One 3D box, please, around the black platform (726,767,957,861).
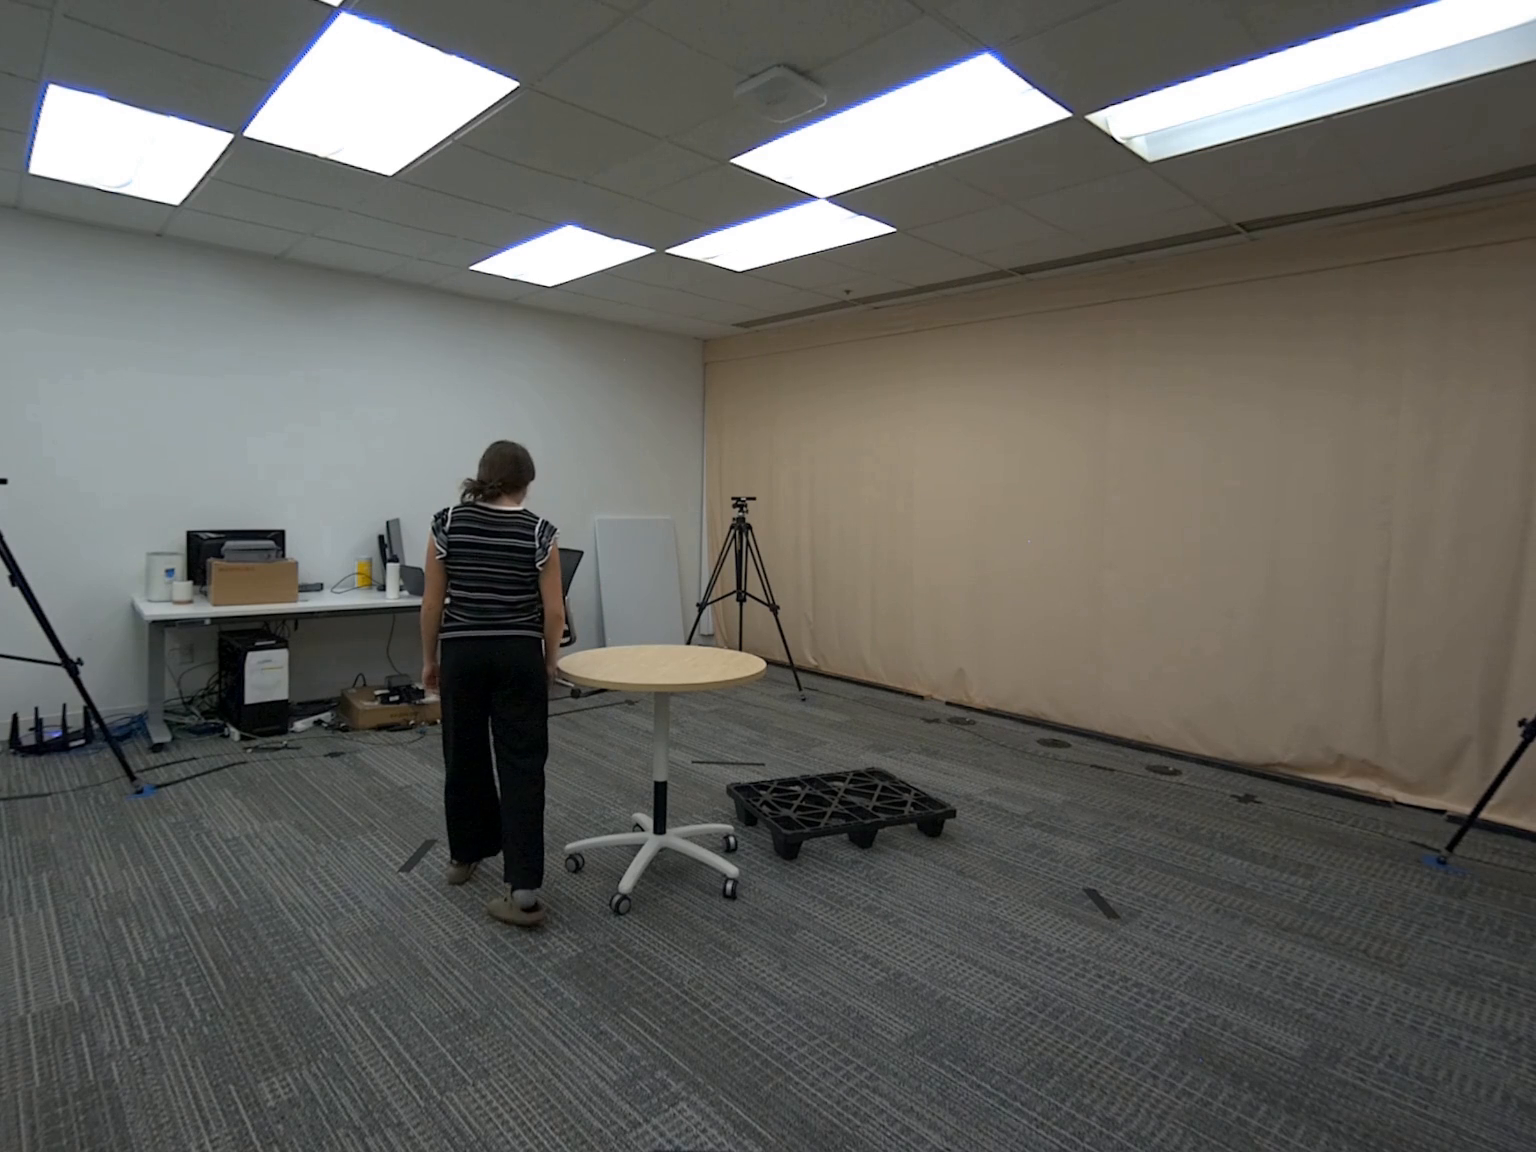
[{"bbox_3d":[0.289,1.009,3.598,0.792,0.143,0.617,-1,6,-24],"label":"black platform"}]
